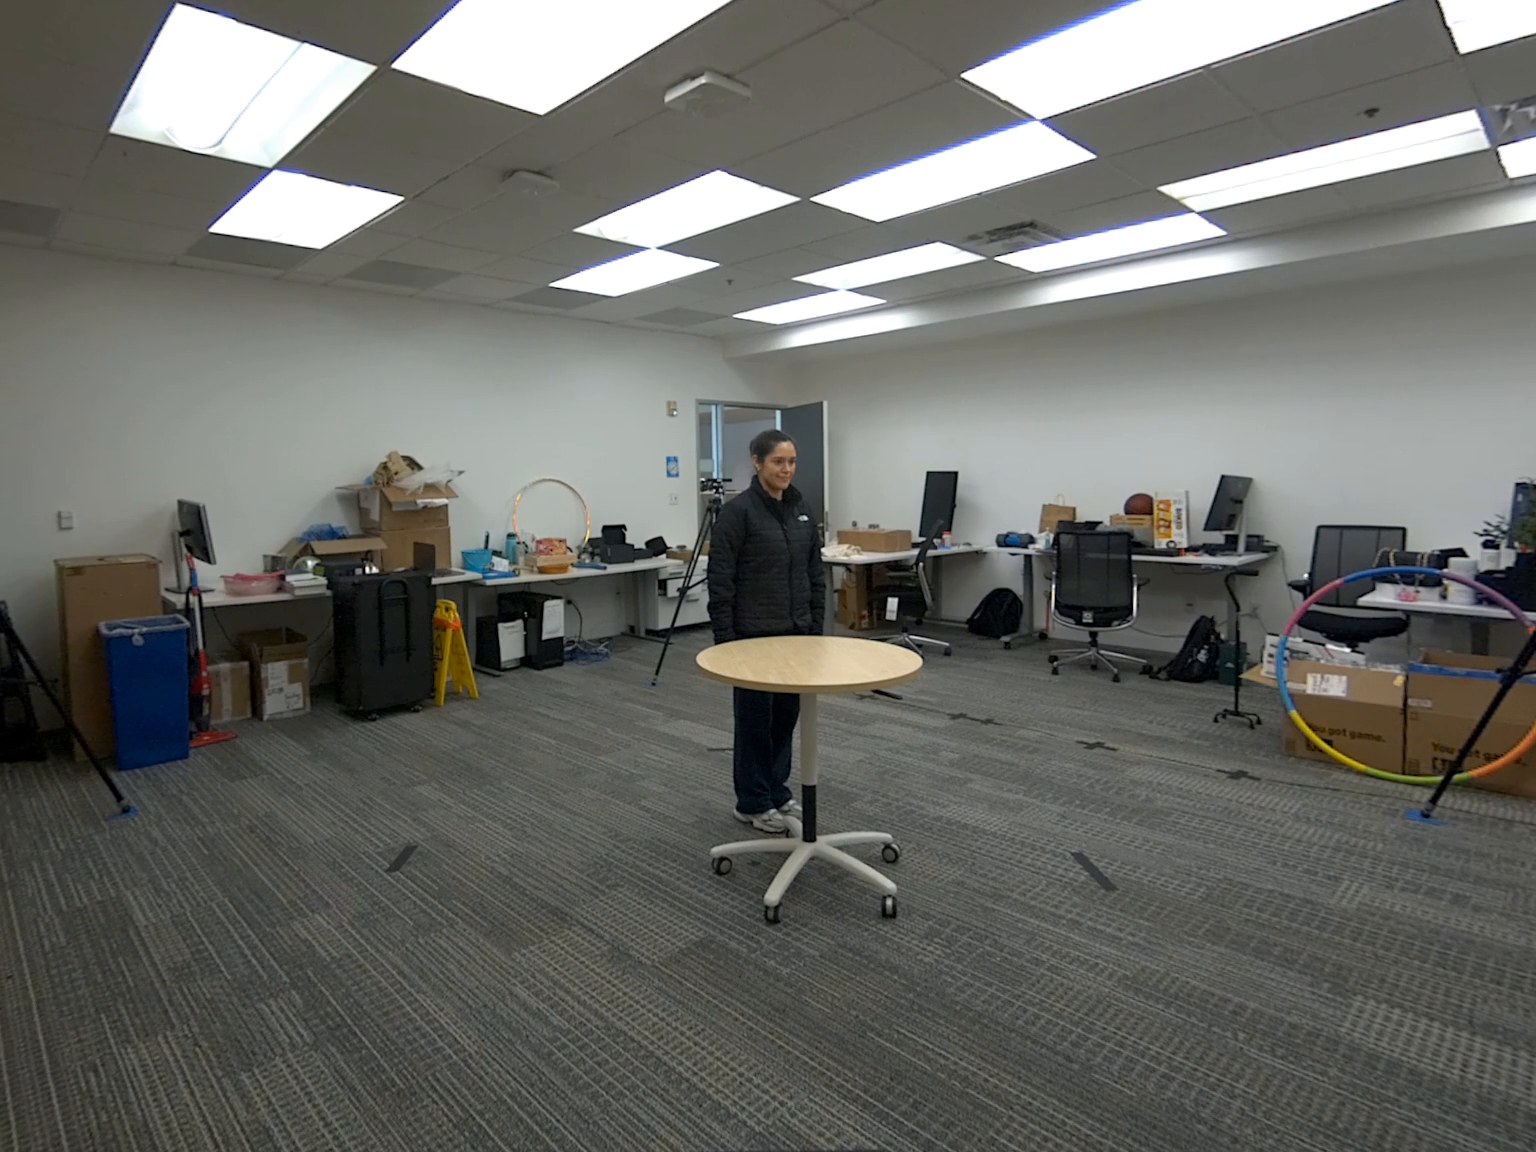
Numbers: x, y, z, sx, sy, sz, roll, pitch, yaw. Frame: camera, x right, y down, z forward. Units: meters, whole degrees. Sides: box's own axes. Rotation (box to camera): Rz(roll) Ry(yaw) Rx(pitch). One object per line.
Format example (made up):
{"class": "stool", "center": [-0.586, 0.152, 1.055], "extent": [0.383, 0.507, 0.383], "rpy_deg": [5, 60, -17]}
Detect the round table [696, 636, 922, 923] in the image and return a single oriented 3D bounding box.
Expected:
{"class": "round table", "center": [0.129, 0.668, 2.955], "extent": [0.784, 0.783, 0.789], "rpy_deg": [-1, 5, -2]}
